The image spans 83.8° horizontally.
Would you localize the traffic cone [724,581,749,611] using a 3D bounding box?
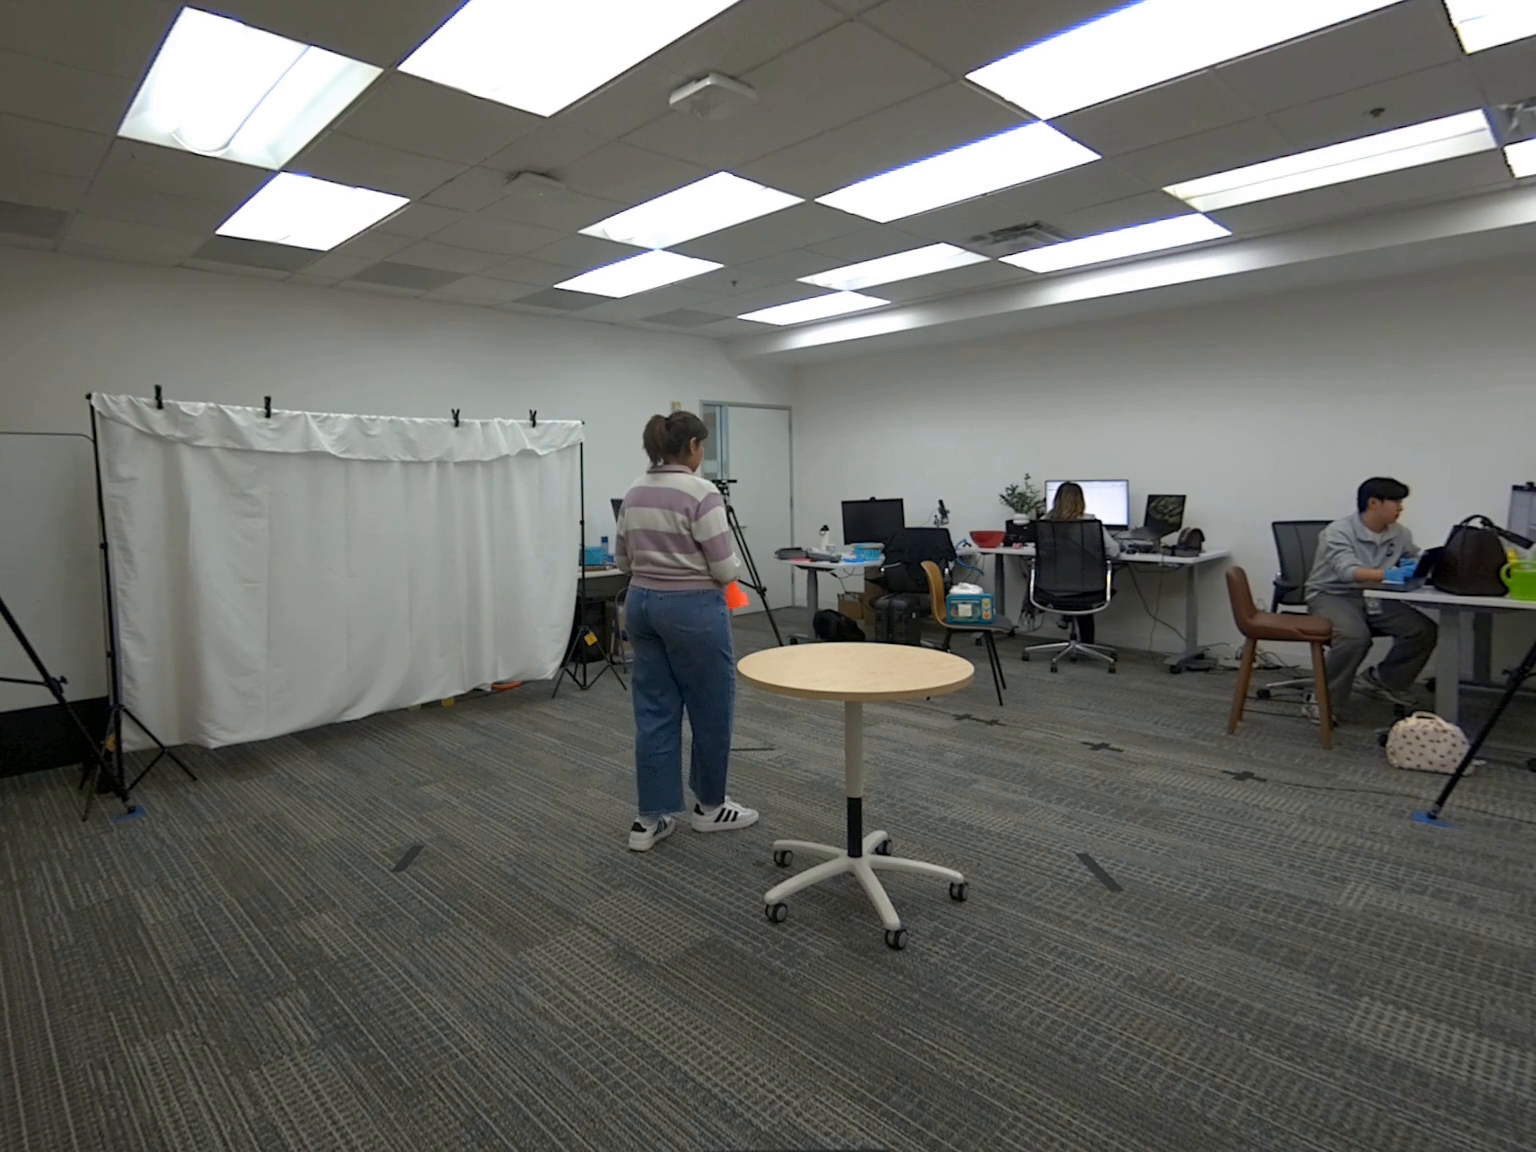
[{"bbox_3d":[-0.213,-0.061,3.569,0.203,0.378,0.208,-12,13,-4],"label":"traffic cone"}]
